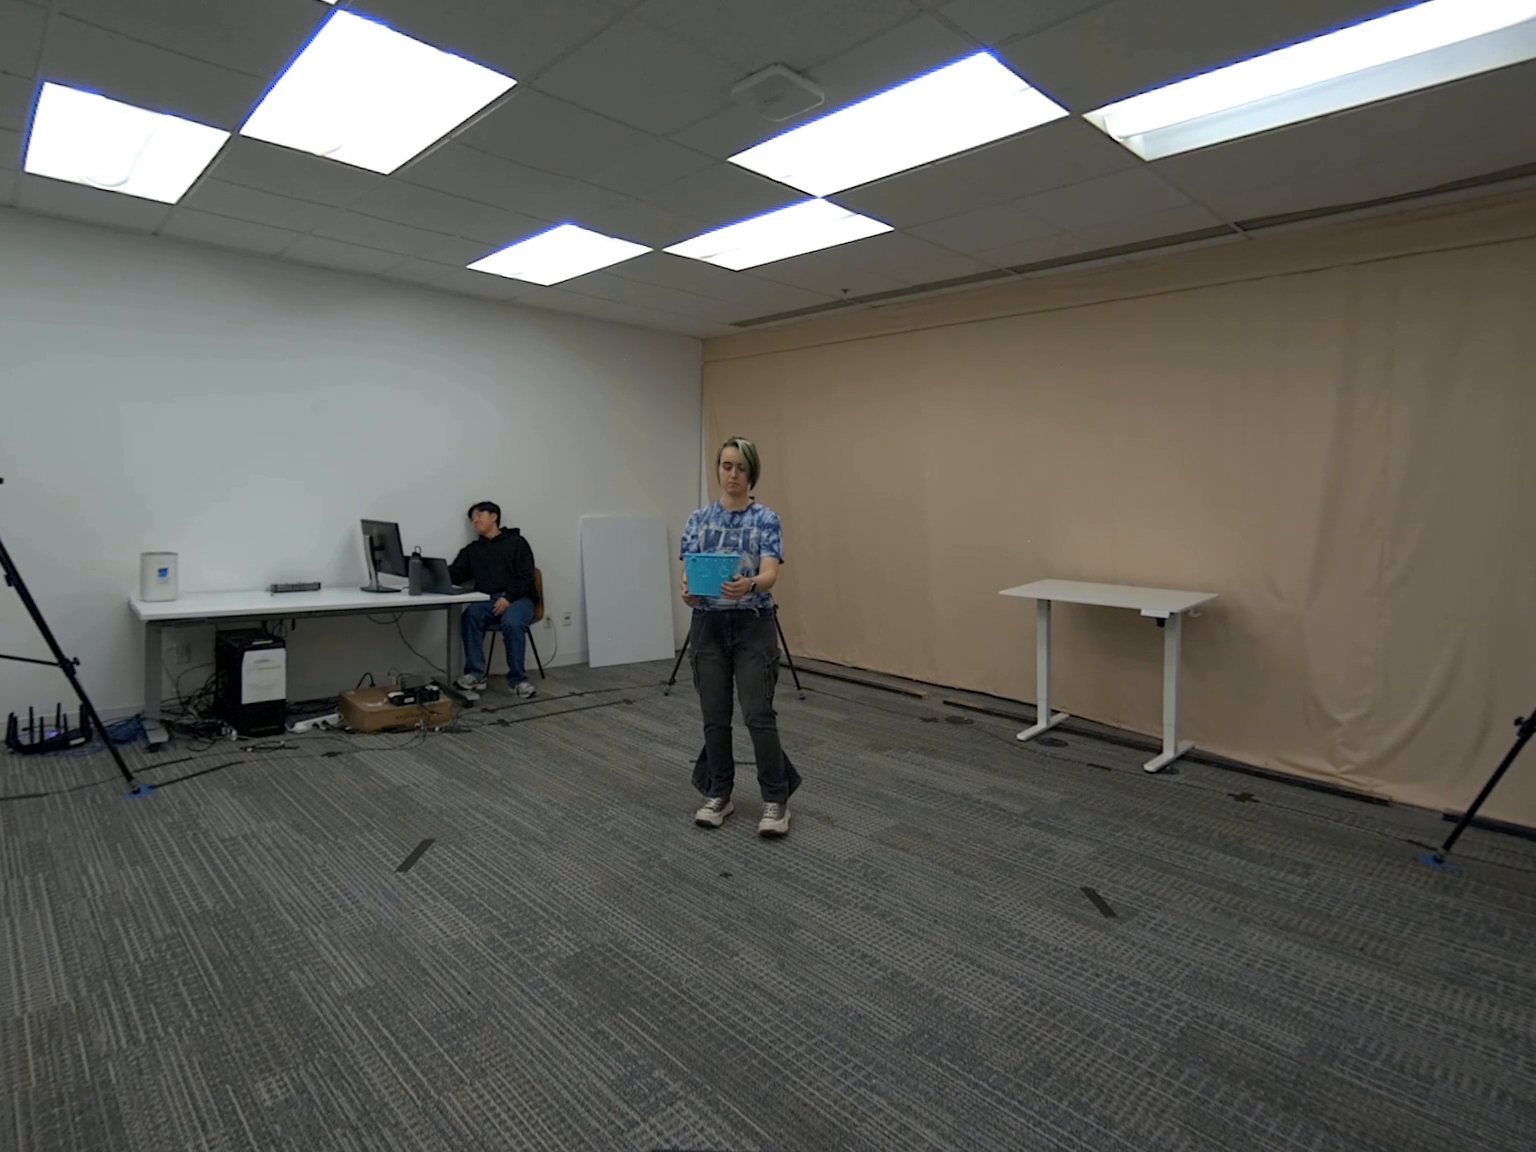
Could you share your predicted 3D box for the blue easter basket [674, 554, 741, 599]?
[{"bbox_3d":[-0.230,0.001,3.256,0.243,0.156,0.244,1,3,-1],"label":"blue easter basket"}]
